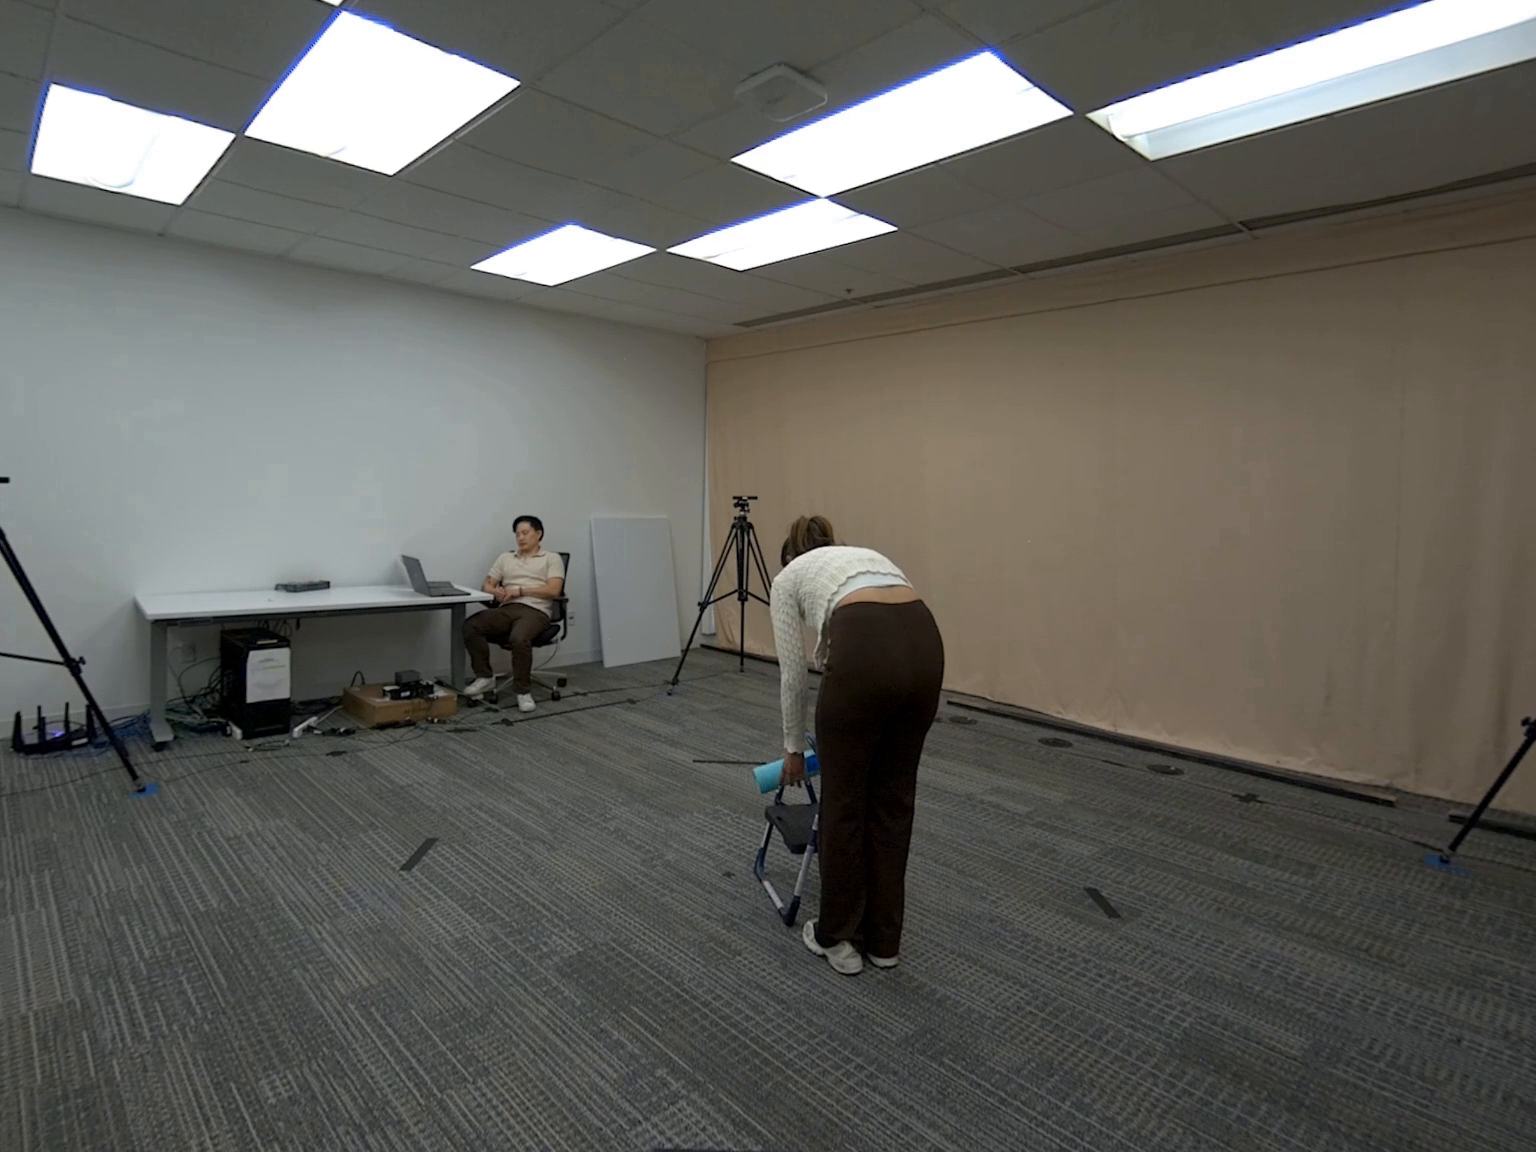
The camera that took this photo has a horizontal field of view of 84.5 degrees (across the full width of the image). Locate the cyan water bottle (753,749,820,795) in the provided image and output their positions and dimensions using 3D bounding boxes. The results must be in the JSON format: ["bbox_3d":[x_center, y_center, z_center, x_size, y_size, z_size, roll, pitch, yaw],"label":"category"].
[{"bbox_3d":[0.107,0.666,2.905,0.282,0.092,0.093,-16,7,-6],"label":"cyan water bottle"}]
